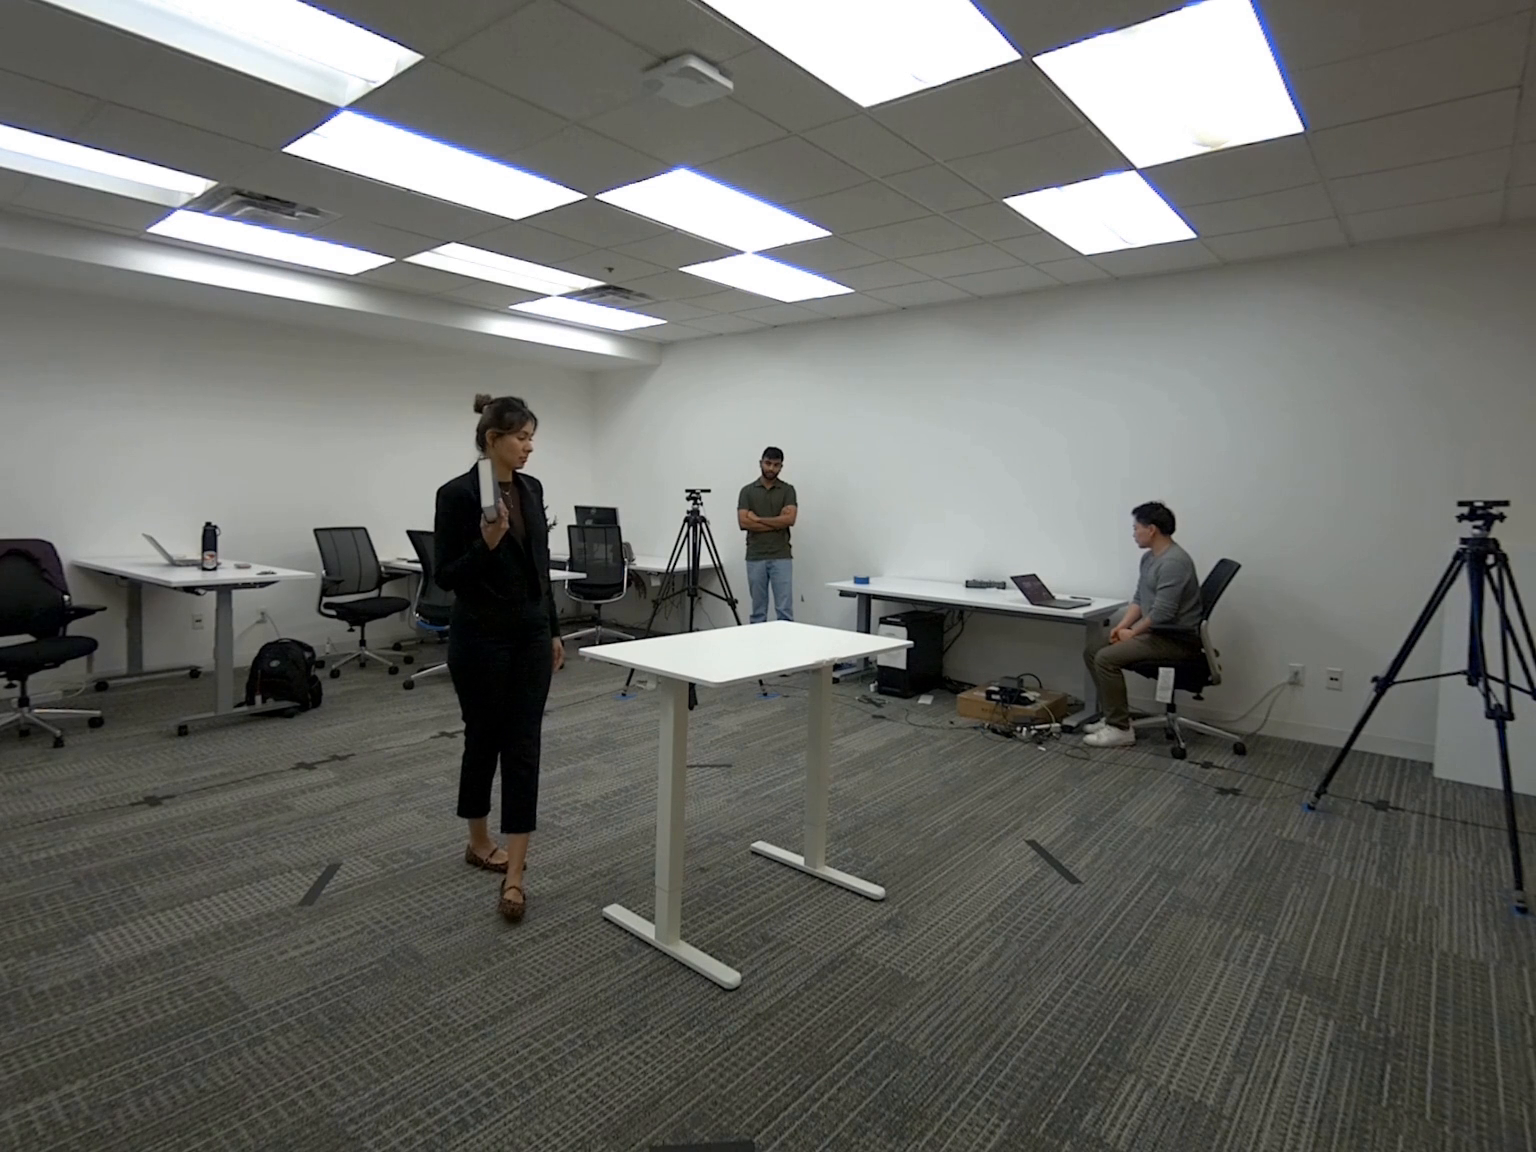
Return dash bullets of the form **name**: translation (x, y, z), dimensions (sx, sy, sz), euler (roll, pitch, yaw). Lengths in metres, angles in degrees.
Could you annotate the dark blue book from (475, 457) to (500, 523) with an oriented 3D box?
- **dark blue book**: translation (-0.905, -0.261, 2.710), dimensions (0.044, 0.166, 0.245), euler (-1, -15, -16)
